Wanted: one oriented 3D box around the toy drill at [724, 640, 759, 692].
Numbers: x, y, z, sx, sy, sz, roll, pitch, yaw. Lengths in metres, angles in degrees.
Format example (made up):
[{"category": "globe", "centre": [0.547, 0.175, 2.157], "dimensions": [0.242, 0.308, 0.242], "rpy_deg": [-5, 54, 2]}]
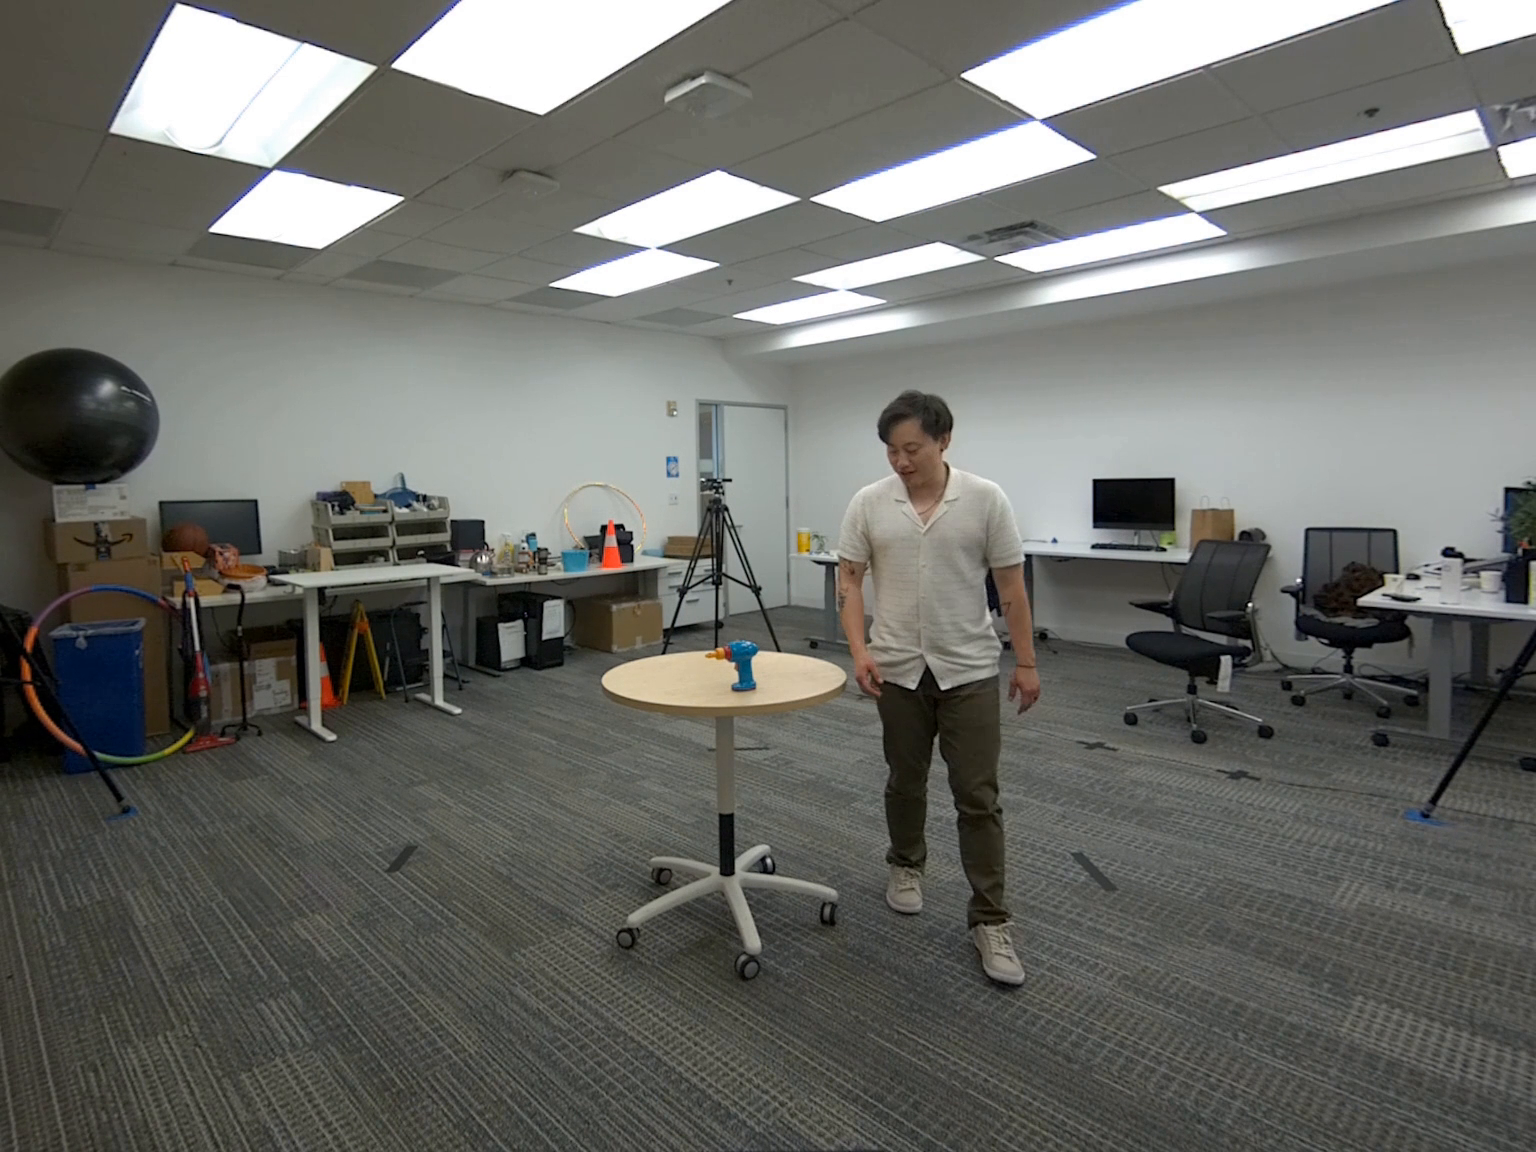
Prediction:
[{"category": "toy drill", "centre": [-0.091, 0.259, 2.476], "dimensions": [0.166, 0.146, 0.062], "rpy_deg": [-3, 3, -24]}]
